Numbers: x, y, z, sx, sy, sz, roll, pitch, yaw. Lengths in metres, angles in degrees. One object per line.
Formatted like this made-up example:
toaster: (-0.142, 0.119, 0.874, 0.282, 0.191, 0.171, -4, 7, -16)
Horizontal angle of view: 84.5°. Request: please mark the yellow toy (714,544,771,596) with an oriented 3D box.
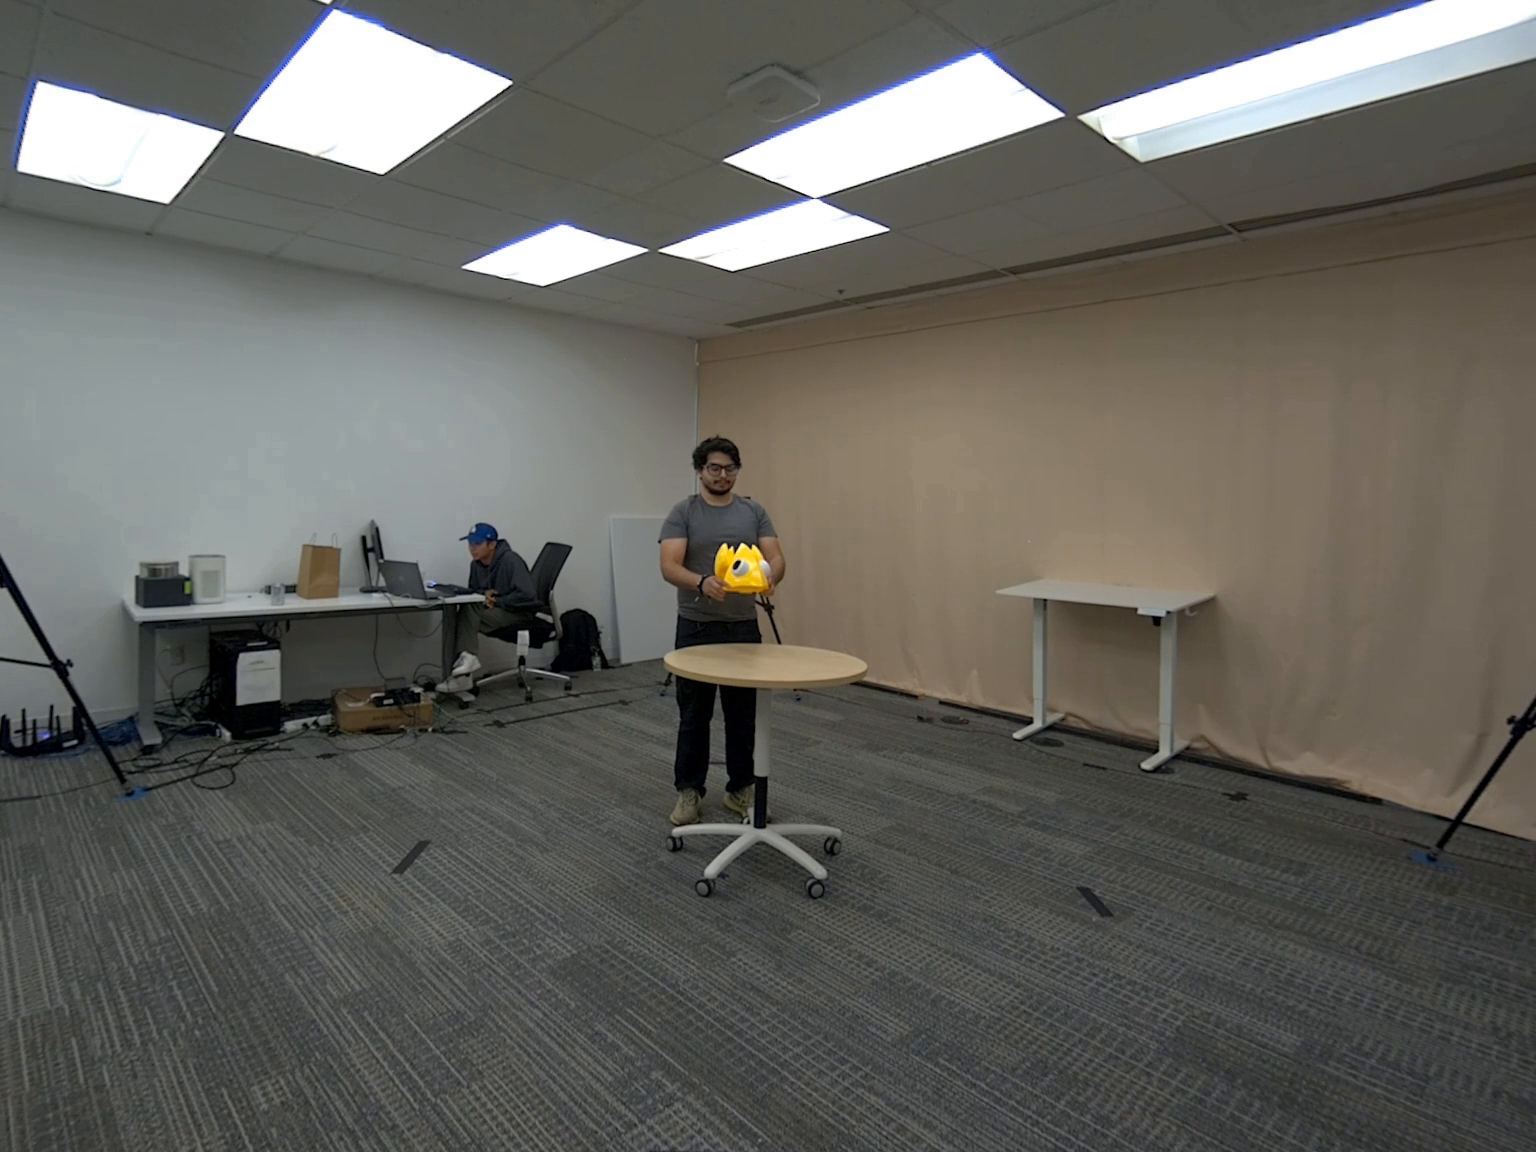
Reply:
yellow toy: (-0.085, -0.027, 3.257, 0.201, 0.193, 0.235, 3, 1, -23)
